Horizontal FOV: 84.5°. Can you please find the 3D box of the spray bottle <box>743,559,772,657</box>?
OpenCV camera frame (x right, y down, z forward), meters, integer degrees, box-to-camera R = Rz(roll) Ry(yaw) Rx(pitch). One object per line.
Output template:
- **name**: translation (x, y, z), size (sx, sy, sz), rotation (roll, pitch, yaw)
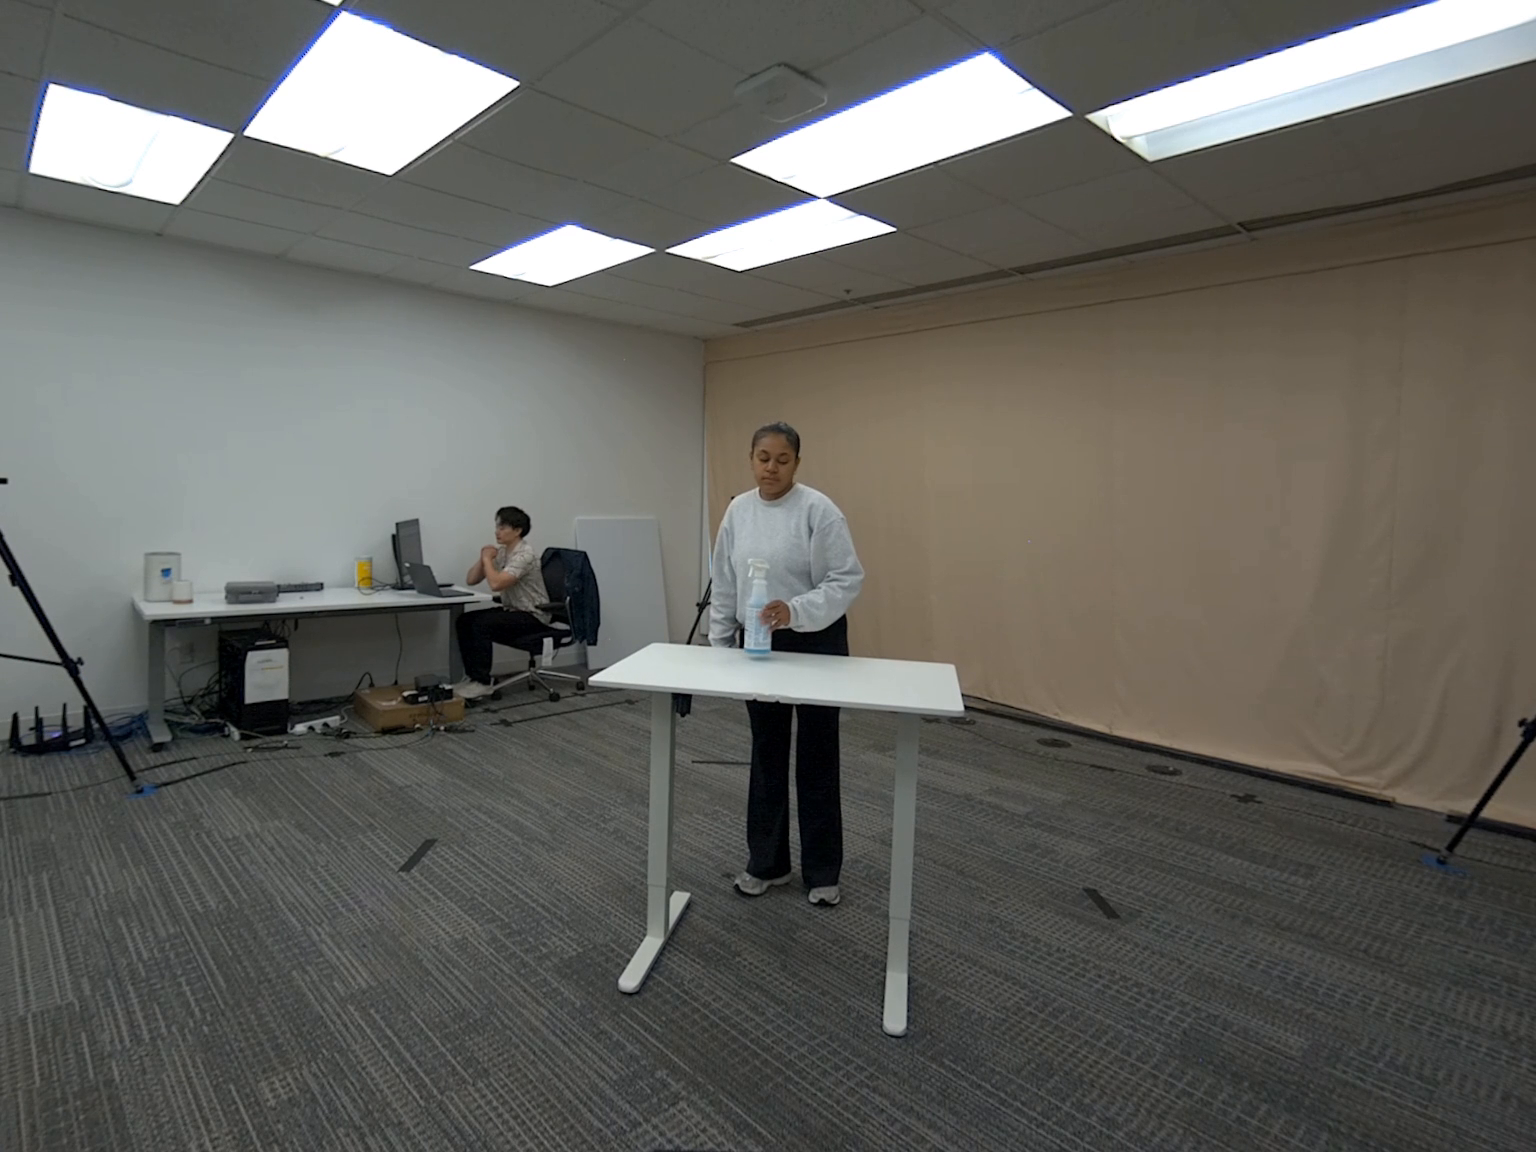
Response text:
- **spray bottle**: translation (-0.046, 0.096, 2.658), size (0.088, 0.296, 0.088), rotation (0, 4, -22)
